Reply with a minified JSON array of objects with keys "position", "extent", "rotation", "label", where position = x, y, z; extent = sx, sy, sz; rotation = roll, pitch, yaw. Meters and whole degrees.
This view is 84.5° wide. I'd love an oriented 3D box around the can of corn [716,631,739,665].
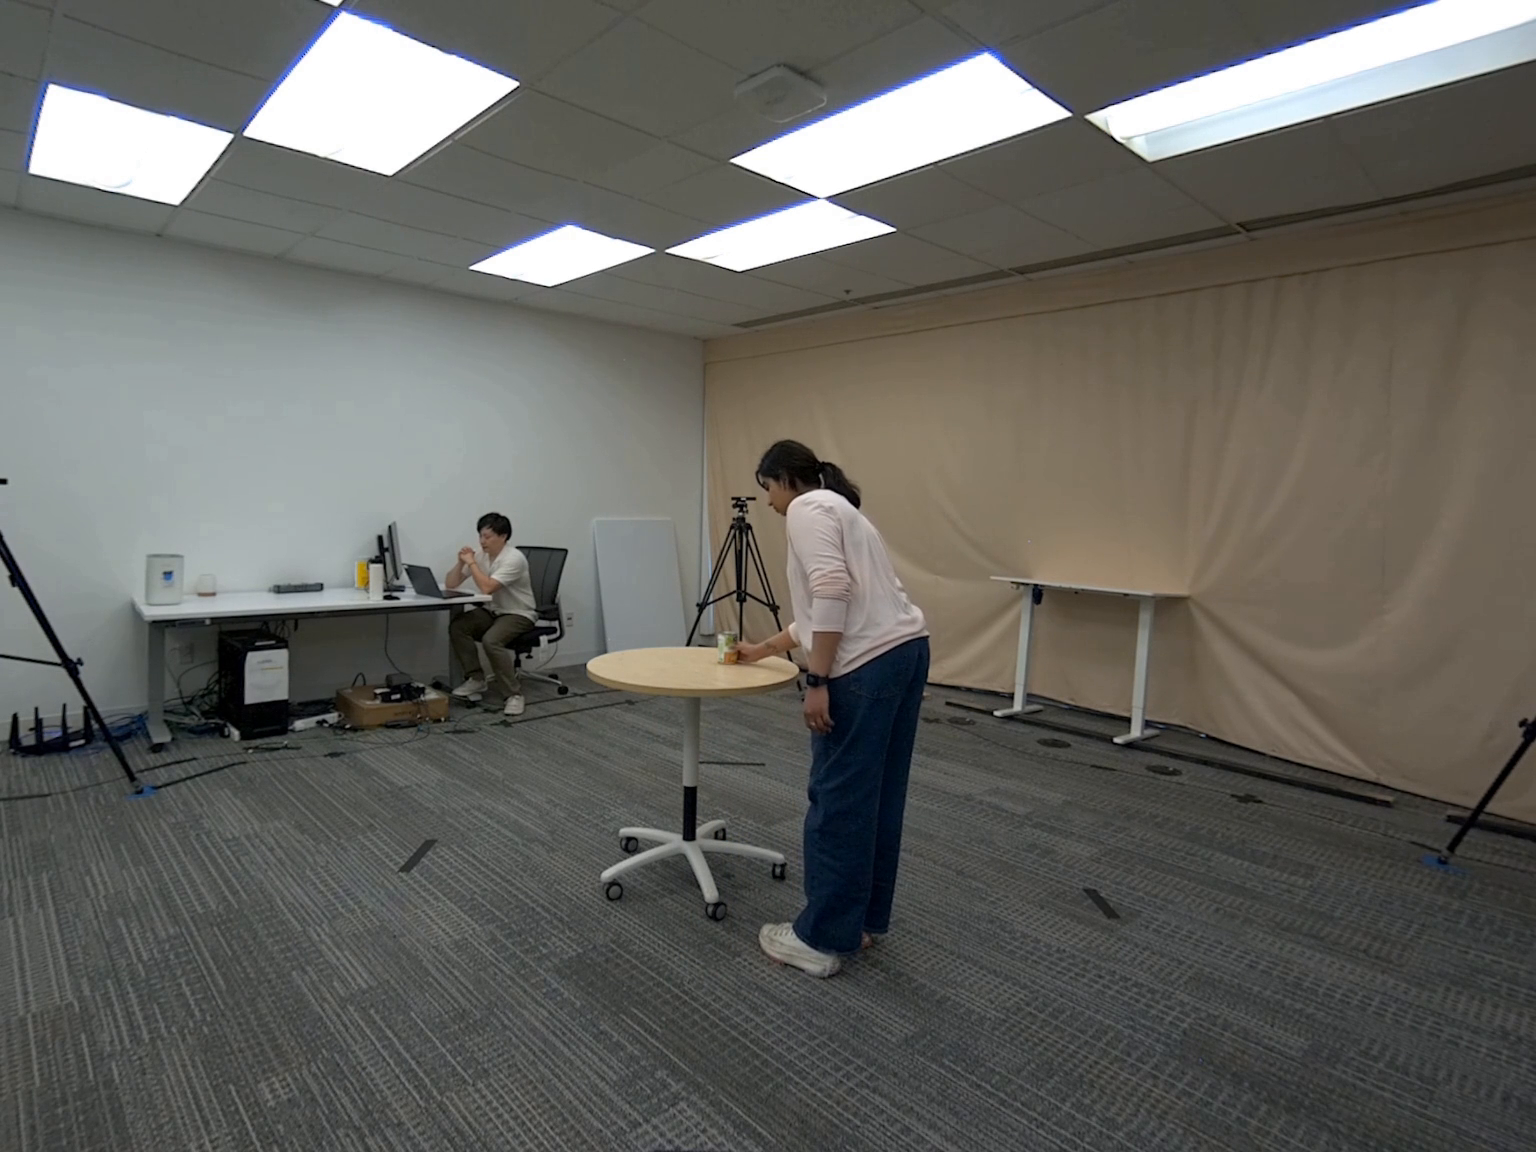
[{"position":[-0.154,0.269,3.113],"extent":[0.074,0.111,0.074],"rotation":[2,1,-1],"label":"can of corn"}]
